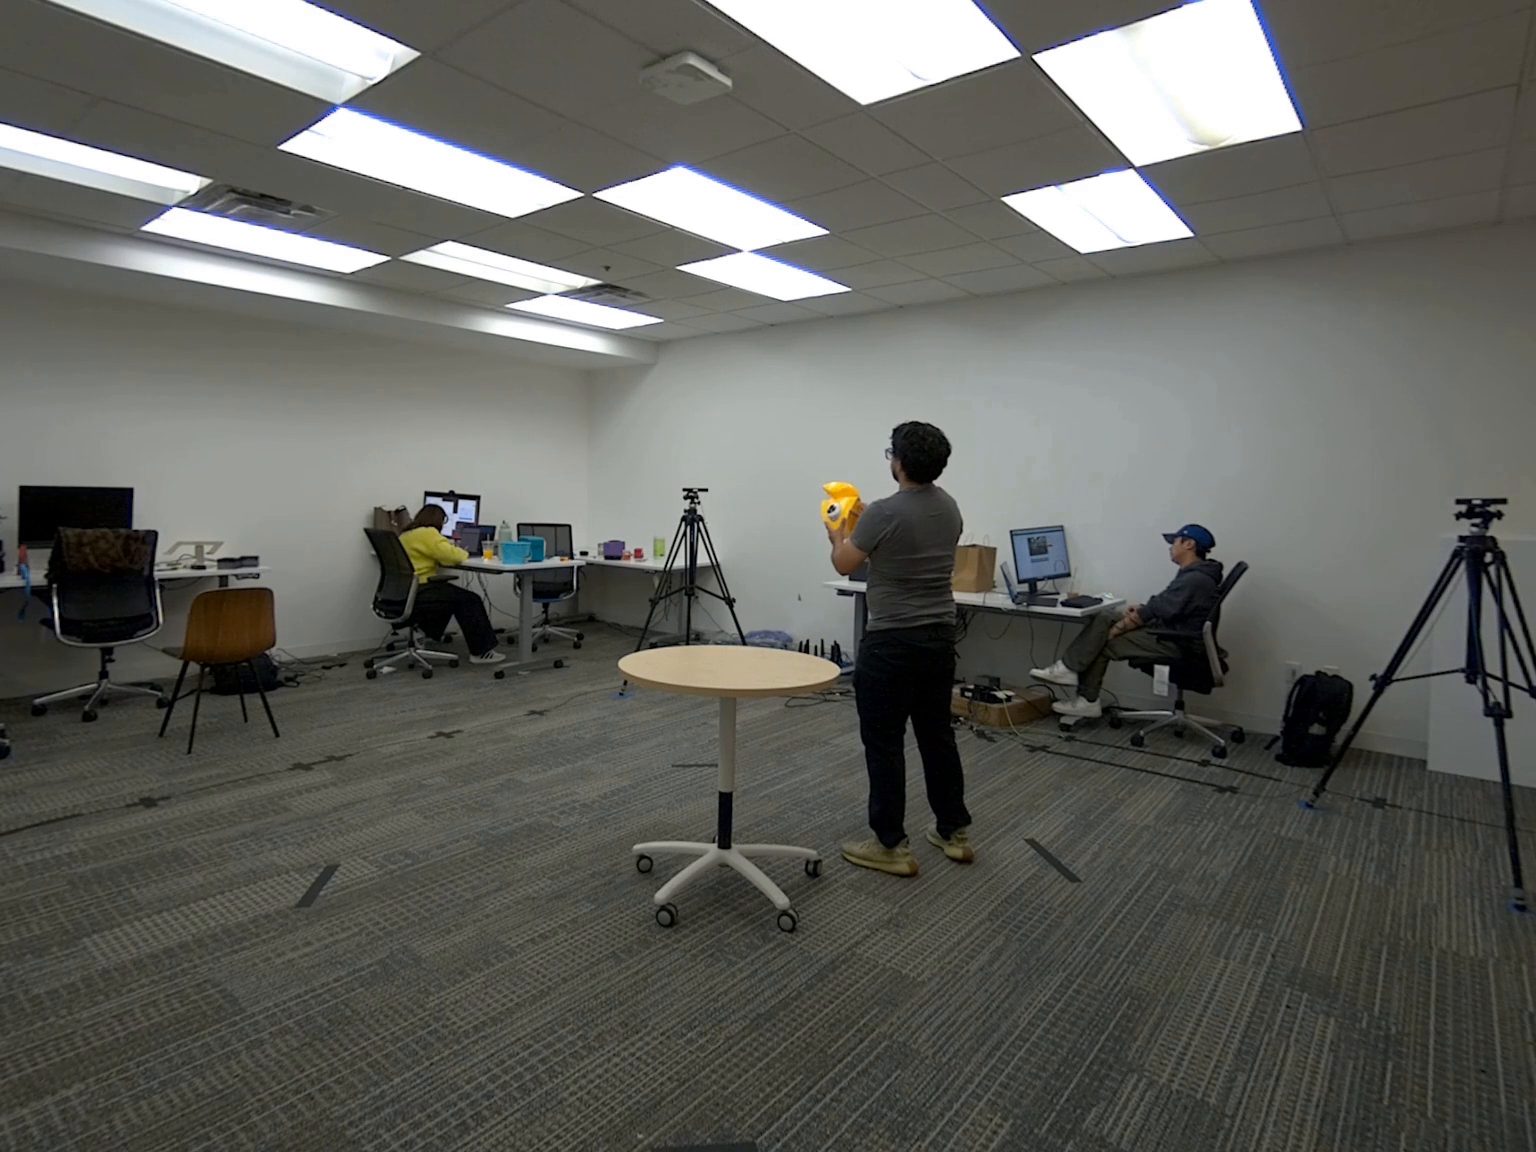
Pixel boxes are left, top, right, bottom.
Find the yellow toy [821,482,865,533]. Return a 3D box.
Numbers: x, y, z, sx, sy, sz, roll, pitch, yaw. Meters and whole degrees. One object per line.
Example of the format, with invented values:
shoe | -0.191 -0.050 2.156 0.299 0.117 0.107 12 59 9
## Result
yellow toy | 0.288 -0.249 3.632 0.198 0.233 0.197 8 -38 23
